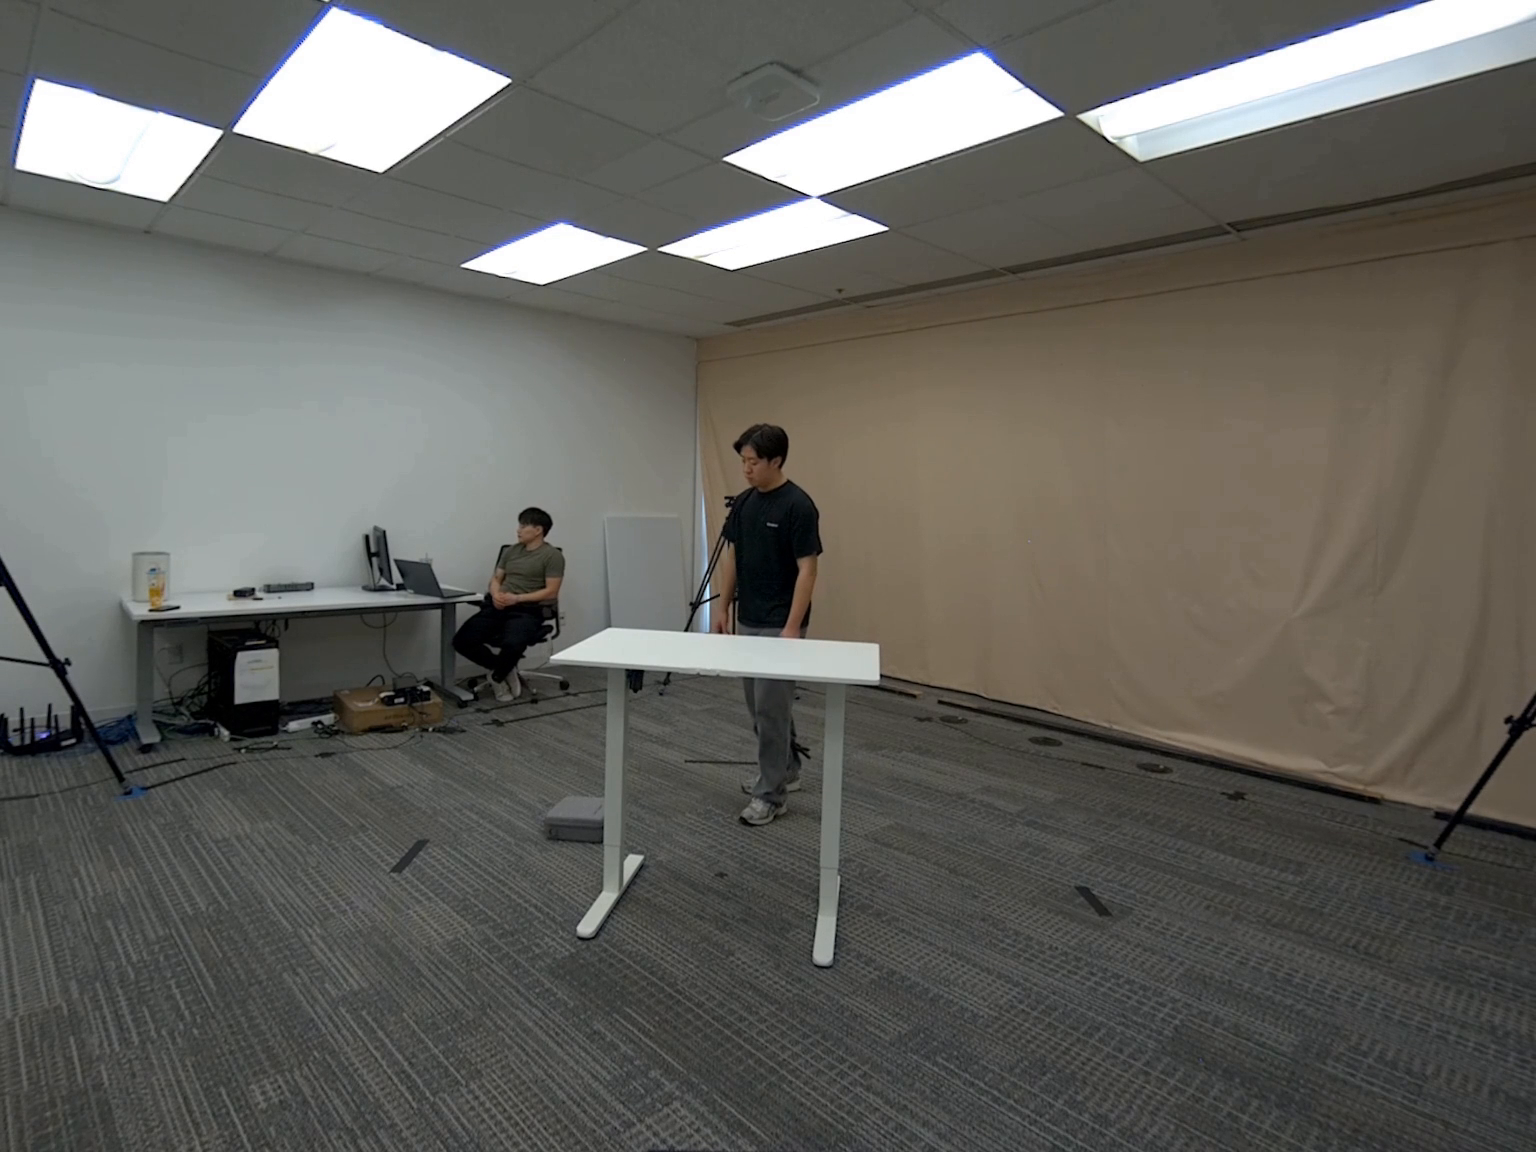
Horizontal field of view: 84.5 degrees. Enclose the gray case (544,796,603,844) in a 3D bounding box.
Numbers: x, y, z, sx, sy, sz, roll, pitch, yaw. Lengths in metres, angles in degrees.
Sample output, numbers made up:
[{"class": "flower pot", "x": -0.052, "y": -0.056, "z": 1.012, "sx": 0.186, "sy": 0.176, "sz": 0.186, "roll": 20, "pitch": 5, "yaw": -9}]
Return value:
[{"class": "gray case", "x": -0.785, "y": 1.000, "z": 3.484, "sx": 0.289, "sy": 0.103, "sz": 0.262, "roll": 2, "pitch": 6, "yaw": 9}]
